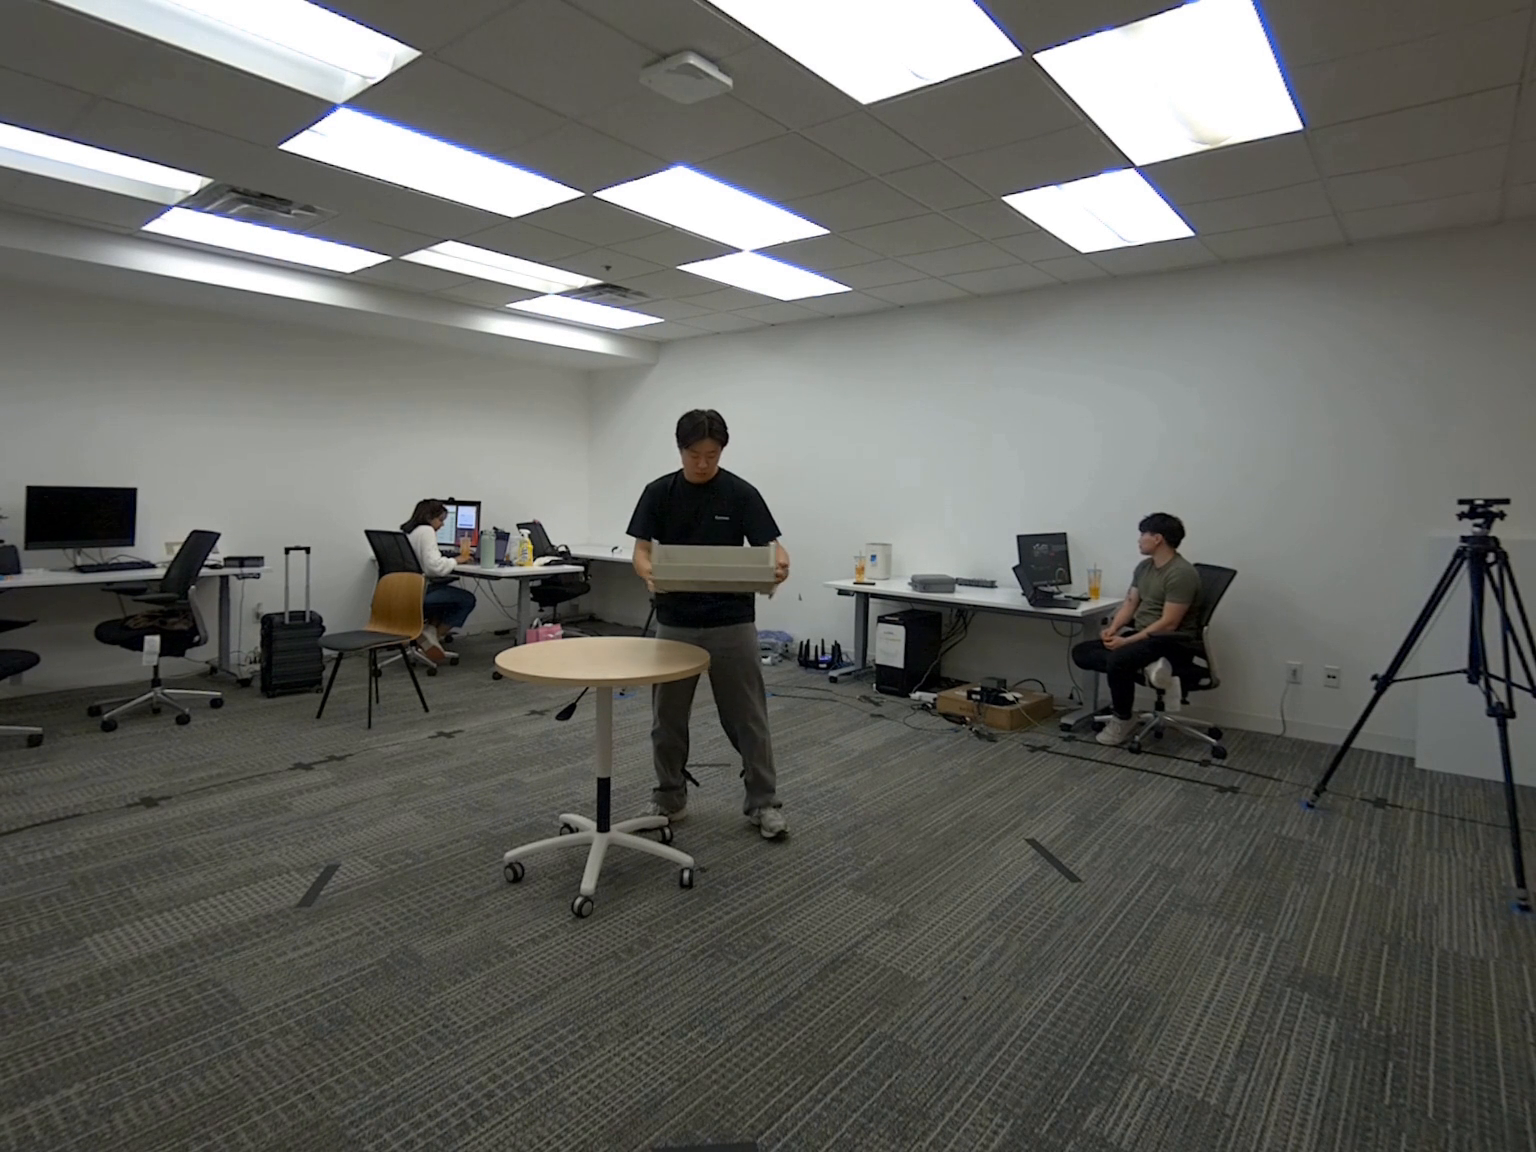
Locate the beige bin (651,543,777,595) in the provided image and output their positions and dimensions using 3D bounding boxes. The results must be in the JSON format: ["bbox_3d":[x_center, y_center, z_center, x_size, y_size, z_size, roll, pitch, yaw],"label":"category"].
[{"bbox_3d":[-0.202,-0.012,3.031,0.422,0.190,0.375,1,-4,0],"label":"beige bin"}]
